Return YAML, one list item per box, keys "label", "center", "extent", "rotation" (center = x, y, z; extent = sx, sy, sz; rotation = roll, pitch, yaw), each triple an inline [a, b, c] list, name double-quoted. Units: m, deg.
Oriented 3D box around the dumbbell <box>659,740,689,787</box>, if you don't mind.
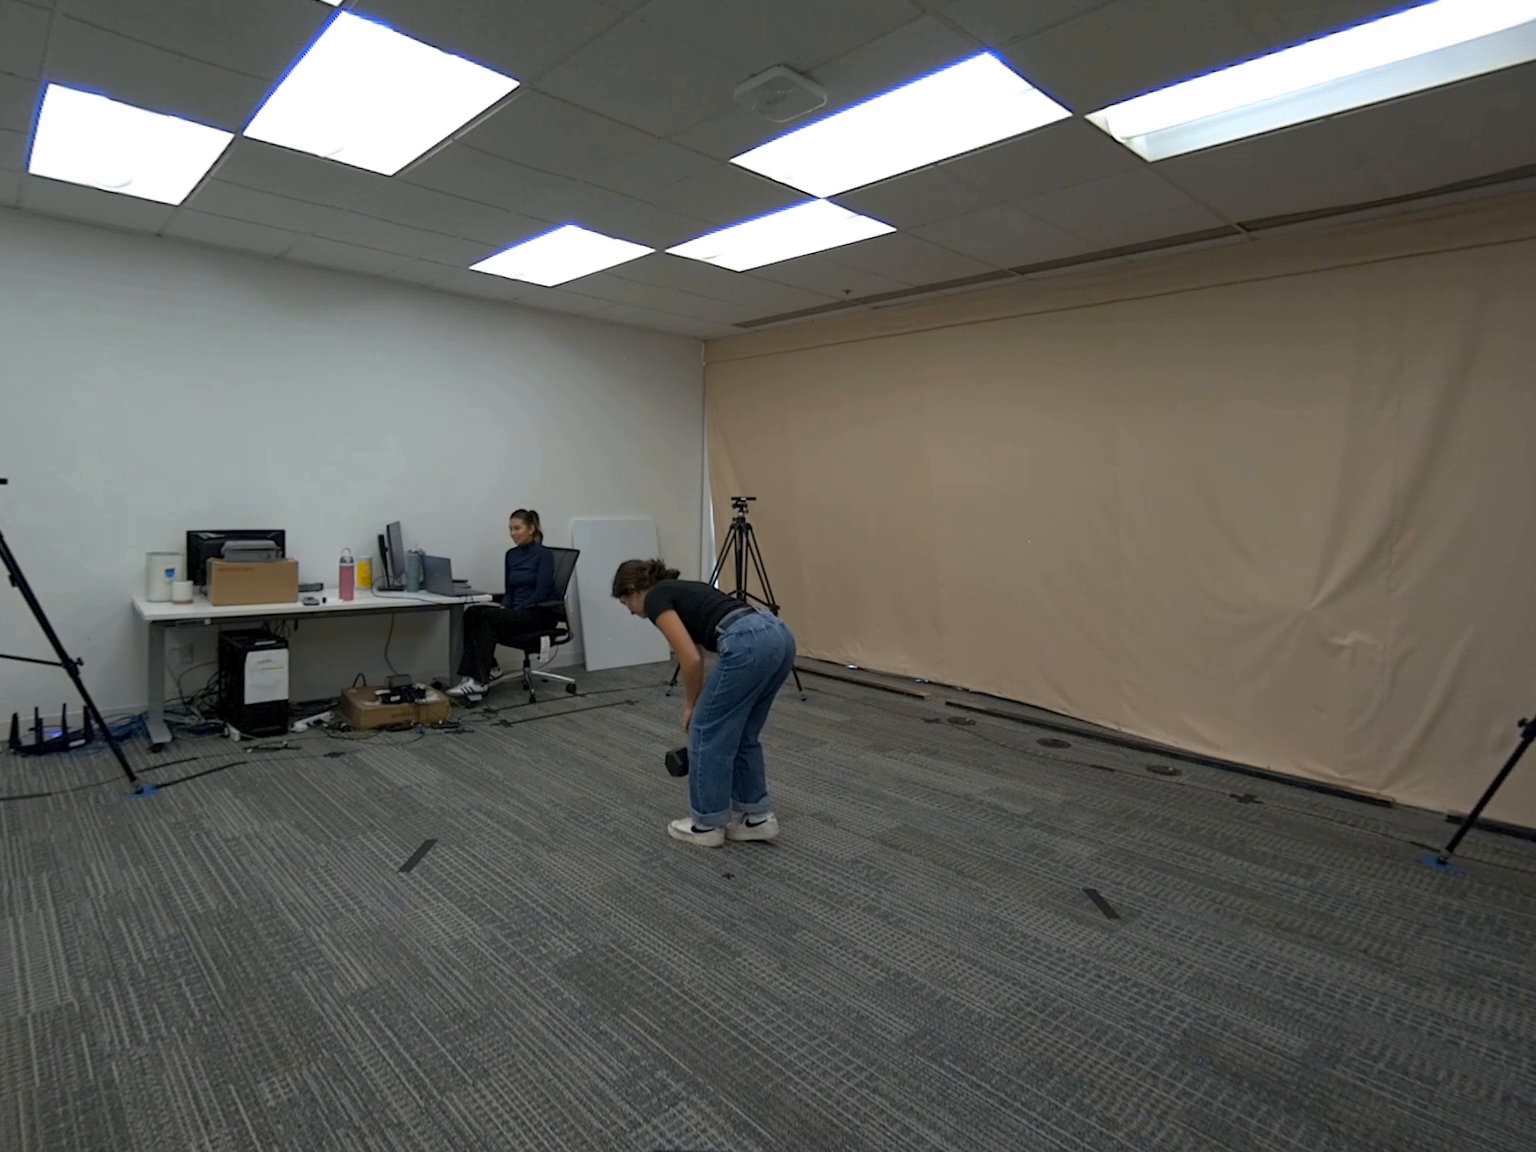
- label: "dumbbell"
  center: [-0.290, 0.745, 3.532]
  extent: [0.288, 0.126, 0.108]
  rotation: [-15, -30, -45]
